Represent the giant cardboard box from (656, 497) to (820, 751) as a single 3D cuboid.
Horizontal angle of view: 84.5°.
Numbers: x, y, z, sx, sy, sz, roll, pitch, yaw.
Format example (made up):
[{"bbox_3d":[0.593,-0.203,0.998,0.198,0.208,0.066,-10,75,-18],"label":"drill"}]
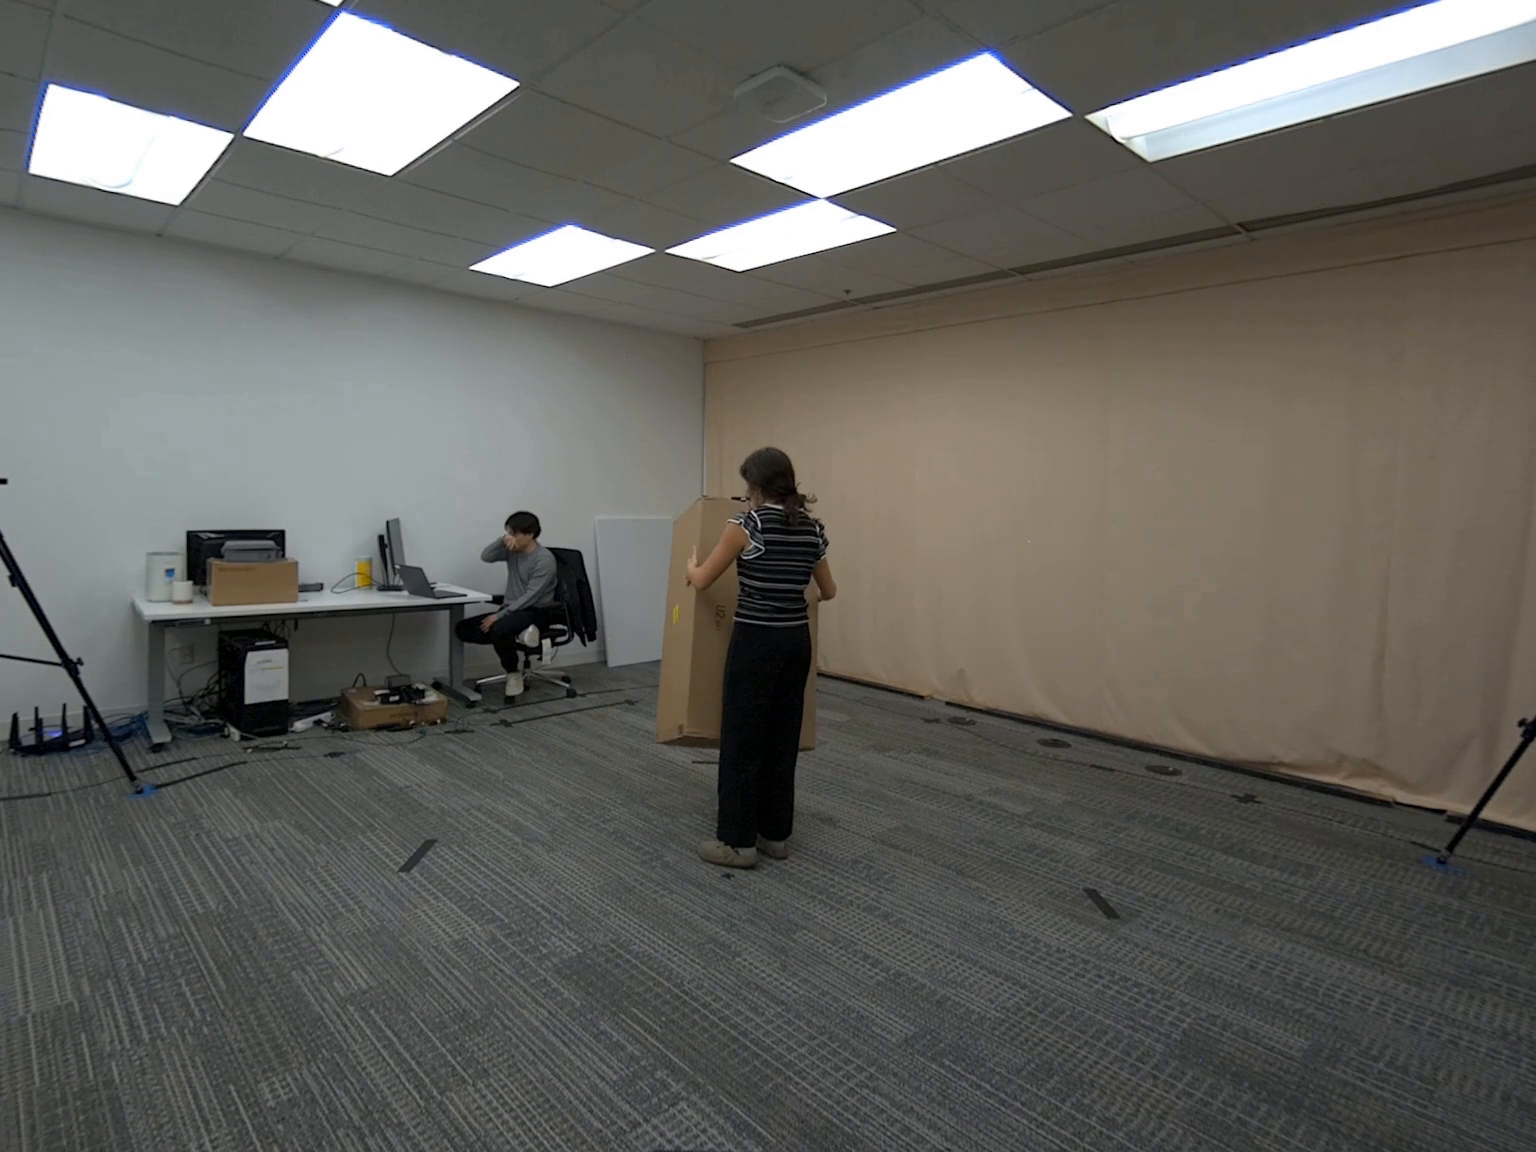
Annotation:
[{"bbox_3d":[-0.136,0.231,3.735,0.567,1.038,0.428,10,-19,-20],"label":"giant cardboard box"}]
